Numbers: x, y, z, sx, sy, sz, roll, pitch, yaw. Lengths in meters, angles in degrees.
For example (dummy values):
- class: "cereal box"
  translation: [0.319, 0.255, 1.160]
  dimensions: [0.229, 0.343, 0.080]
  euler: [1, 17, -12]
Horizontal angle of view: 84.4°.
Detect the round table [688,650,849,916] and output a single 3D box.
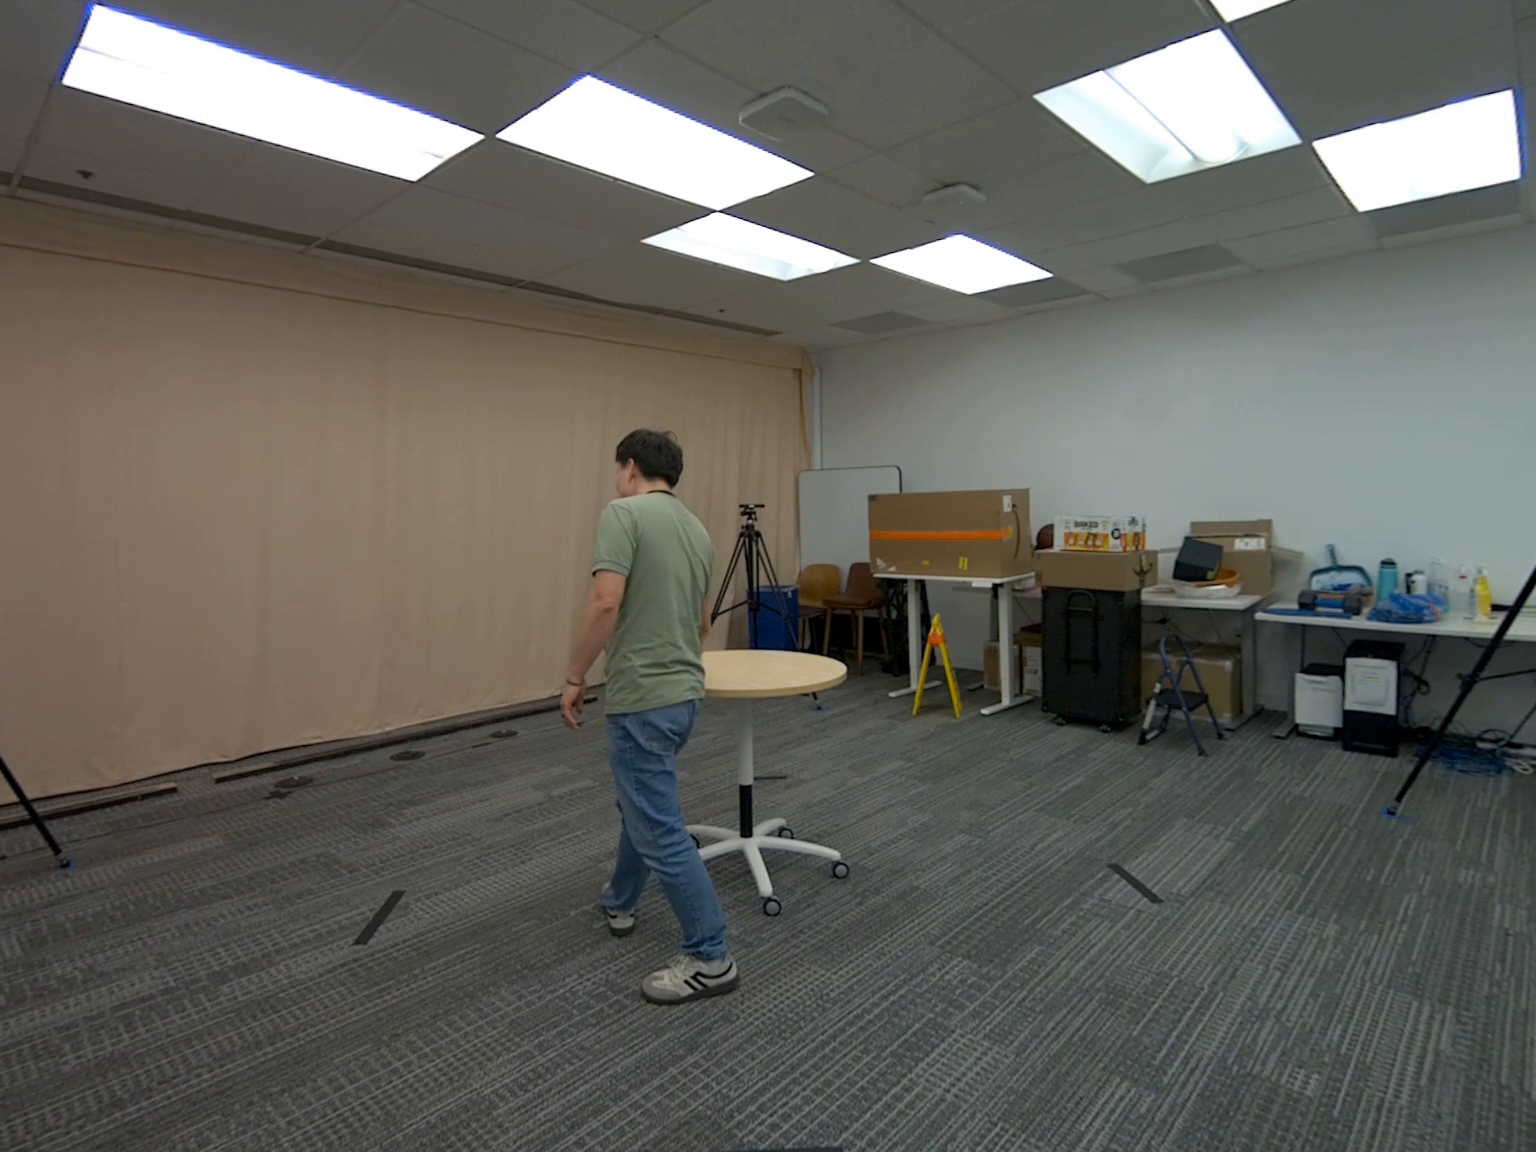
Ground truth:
- class: "round table"
  translation: [-0.079, 0.738, 3.173]
  dimensions: [0.763, 0.792, 0.767]
  euler: [-1, 4, -2]
